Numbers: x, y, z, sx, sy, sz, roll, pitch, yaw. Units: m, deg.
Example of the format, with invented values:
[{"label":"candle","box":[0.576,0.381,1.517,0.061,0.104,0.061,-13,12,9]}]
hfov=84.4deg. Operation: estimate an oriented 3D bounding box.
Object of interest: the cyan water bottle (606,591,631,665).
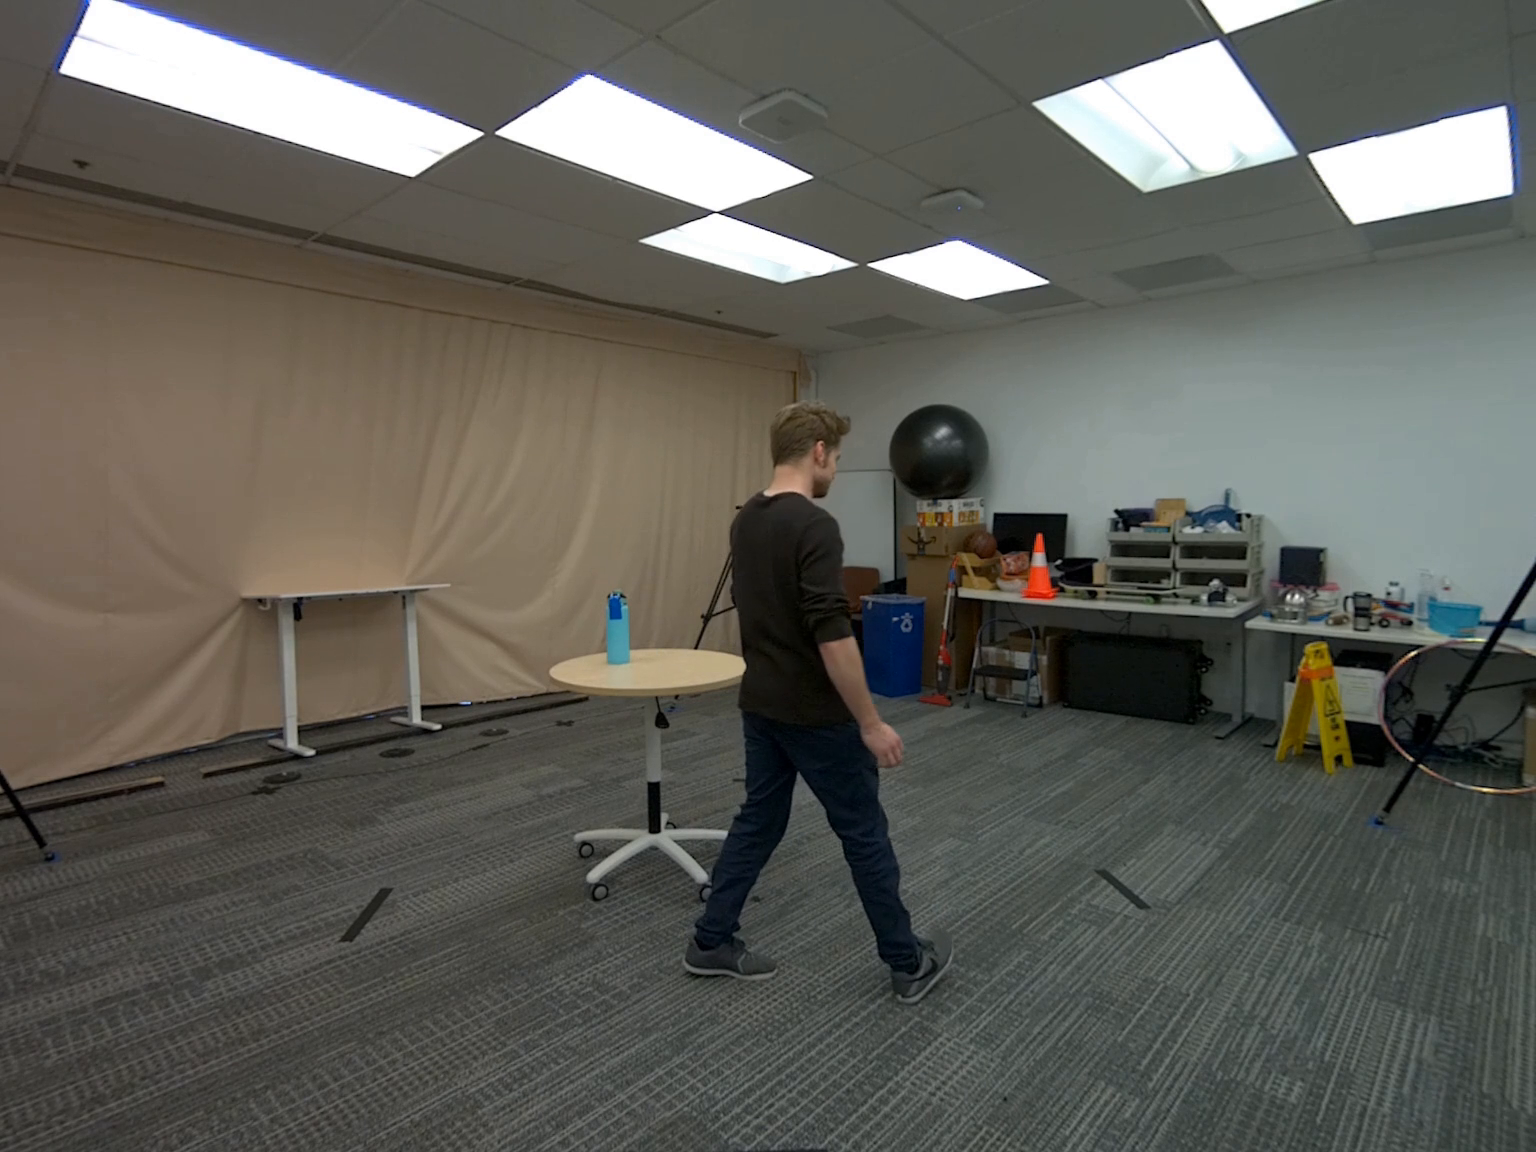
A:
[{"label":"cyan water bottle","box":[-0.585,0.198,3.312,0.092,0.283,0.092,1,3,-2]}]
